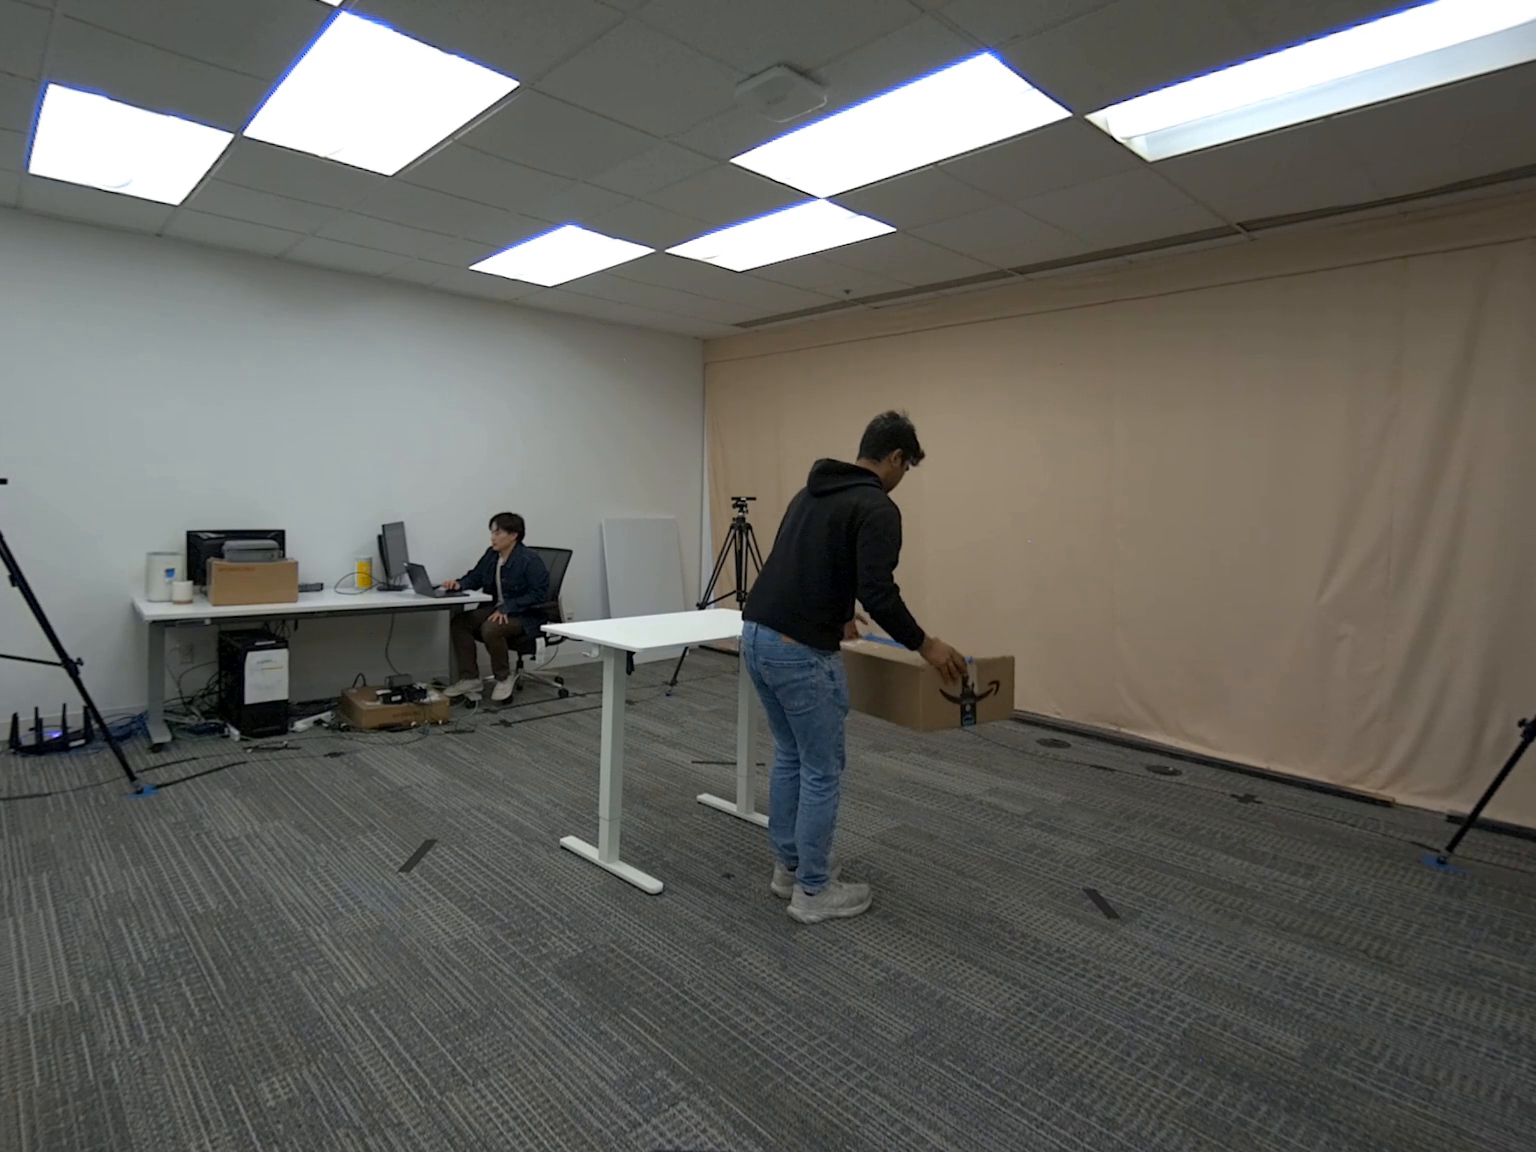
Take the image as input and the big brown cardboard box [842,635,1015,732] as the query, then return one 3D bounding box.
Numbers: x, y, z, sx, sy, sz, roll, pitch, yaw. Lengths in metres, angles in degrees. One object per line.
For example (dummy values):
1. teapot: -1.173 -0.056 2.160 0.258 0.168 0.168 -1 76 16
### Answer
1. big brown cardboard box: 0.509 0.367 3.028 0.409 0.232 0.602 -3 6 -30
